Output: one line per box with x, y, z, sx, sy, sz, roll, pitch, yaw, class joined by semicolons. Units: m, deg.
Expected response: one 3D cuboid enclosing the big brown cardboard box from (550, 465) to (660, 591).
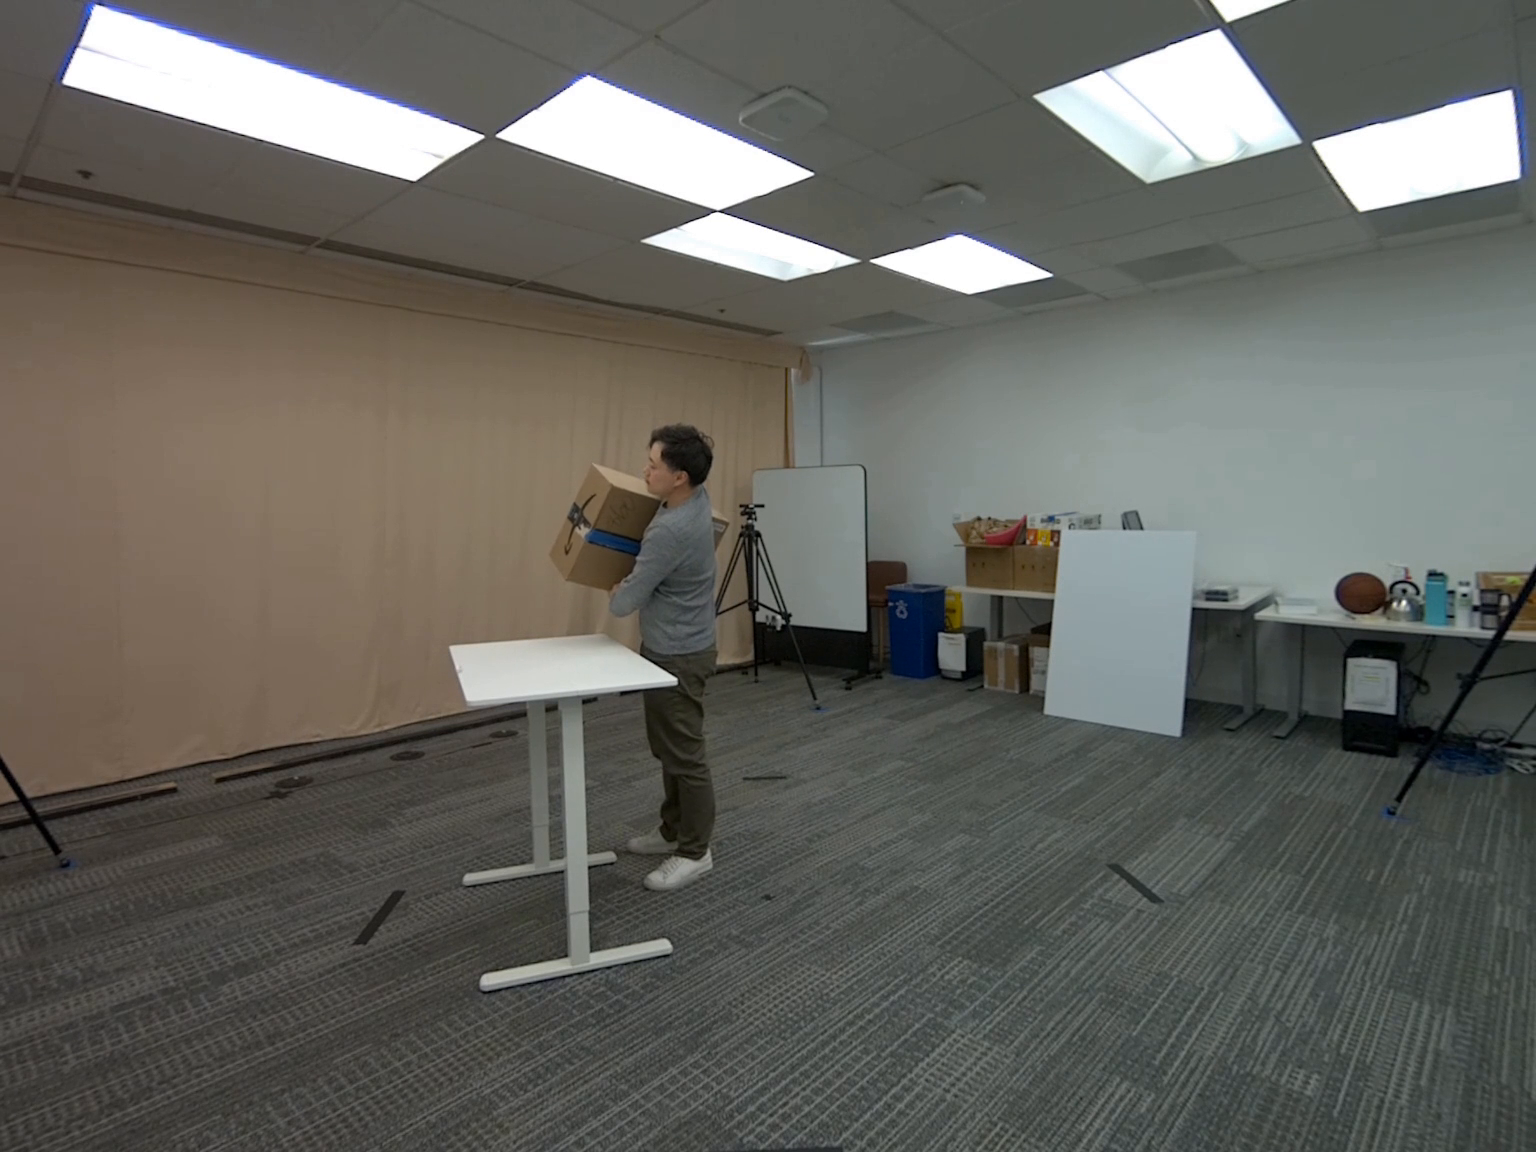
-0.500;-0.142;3.353;0.569;0.417;0.241;16;18;-36;big brown cardboard box
